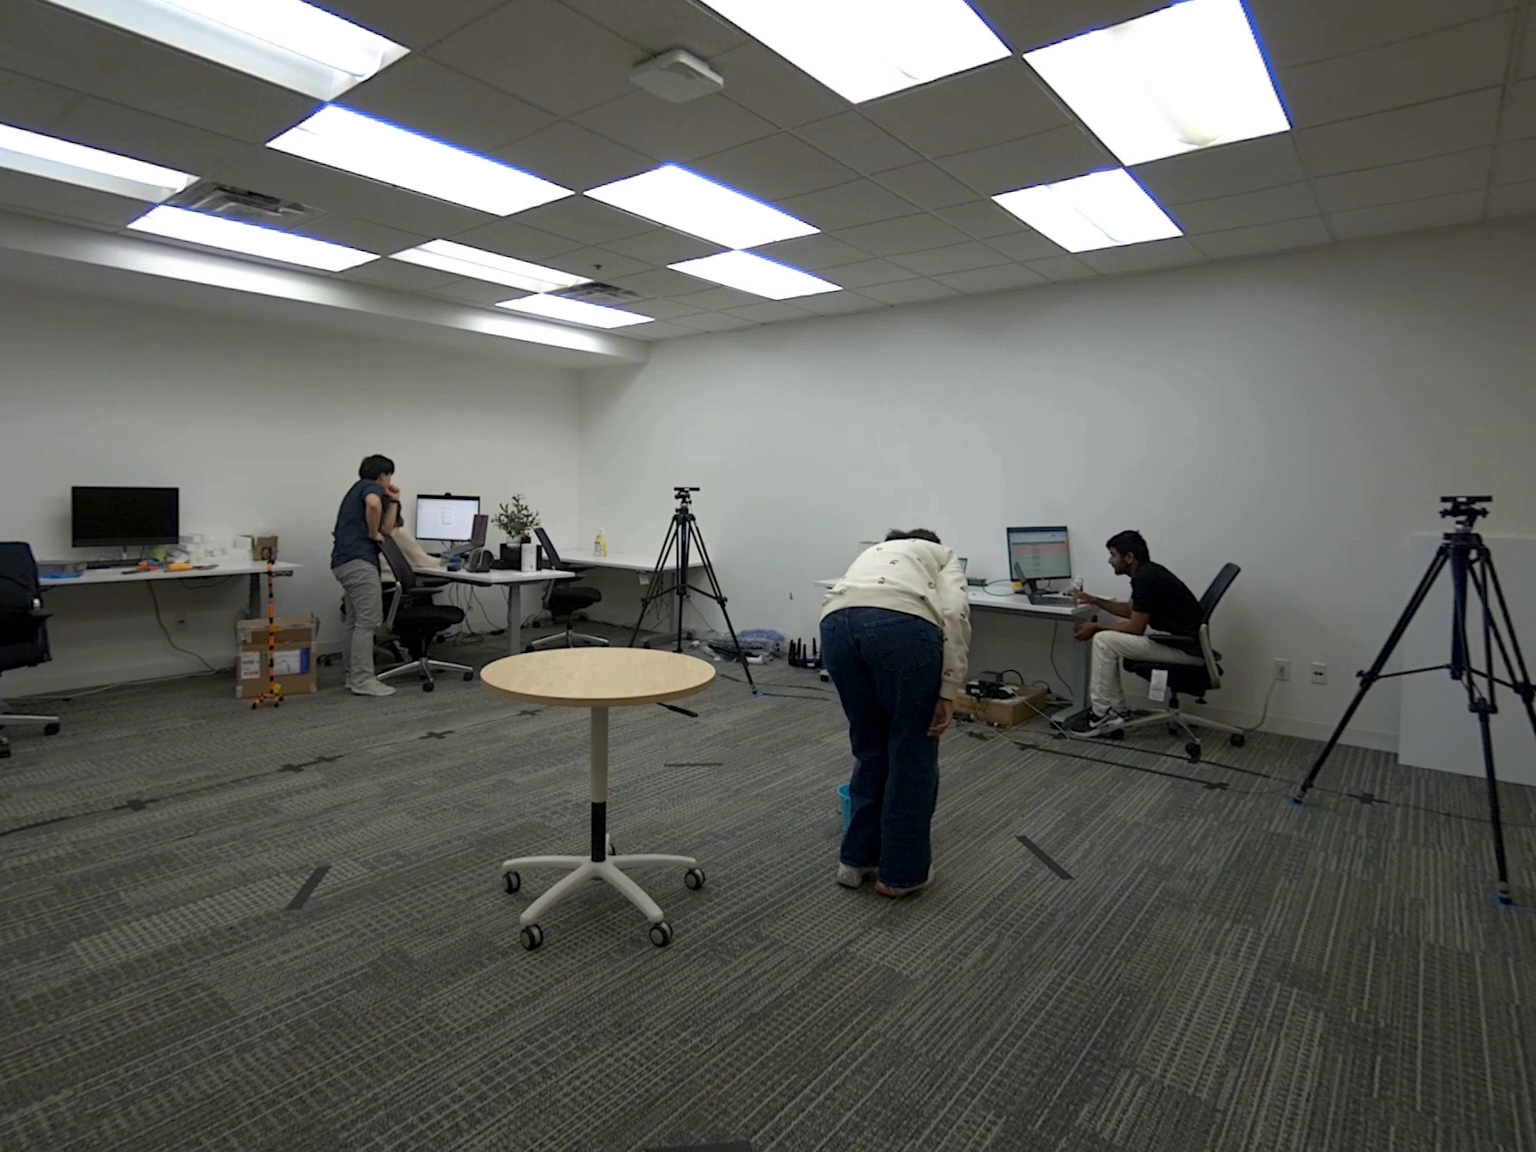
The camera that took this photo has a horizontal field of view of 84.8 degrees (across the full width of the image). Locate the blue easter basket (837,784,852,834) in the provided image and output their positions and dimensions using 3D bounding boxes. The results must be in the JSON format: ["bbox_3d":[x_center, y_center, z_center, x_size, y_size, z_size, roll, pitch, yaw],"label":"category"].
[{"bbox_3d":[0.396,0.957,3.507,0.243,0.155,0.245,0,5,-2],"label":"blue easter basket"}]
